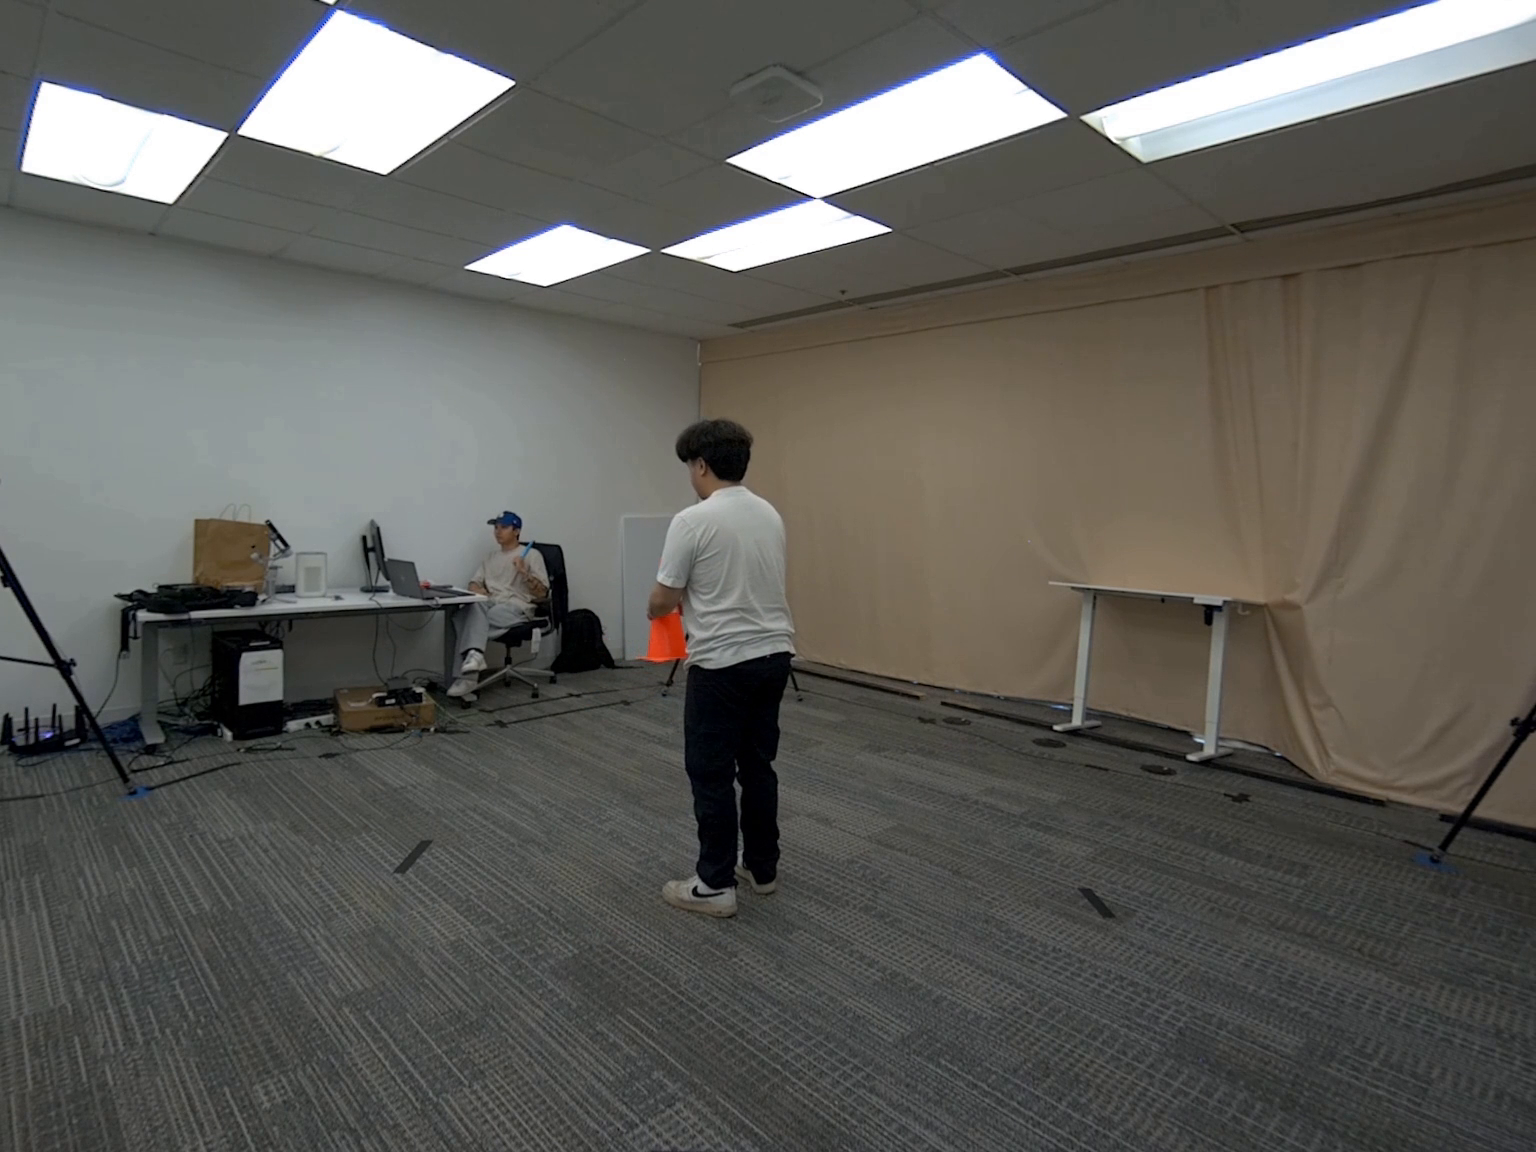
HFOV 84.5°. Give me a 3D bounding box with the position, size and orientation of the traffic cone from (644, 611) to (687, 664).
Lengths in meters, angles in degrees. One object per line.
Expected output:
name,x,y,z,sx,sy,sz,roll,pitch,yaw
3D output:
traffic cone,-0.394,0.121,3.203,0.208,0.385,0.200,-4,-4,44
